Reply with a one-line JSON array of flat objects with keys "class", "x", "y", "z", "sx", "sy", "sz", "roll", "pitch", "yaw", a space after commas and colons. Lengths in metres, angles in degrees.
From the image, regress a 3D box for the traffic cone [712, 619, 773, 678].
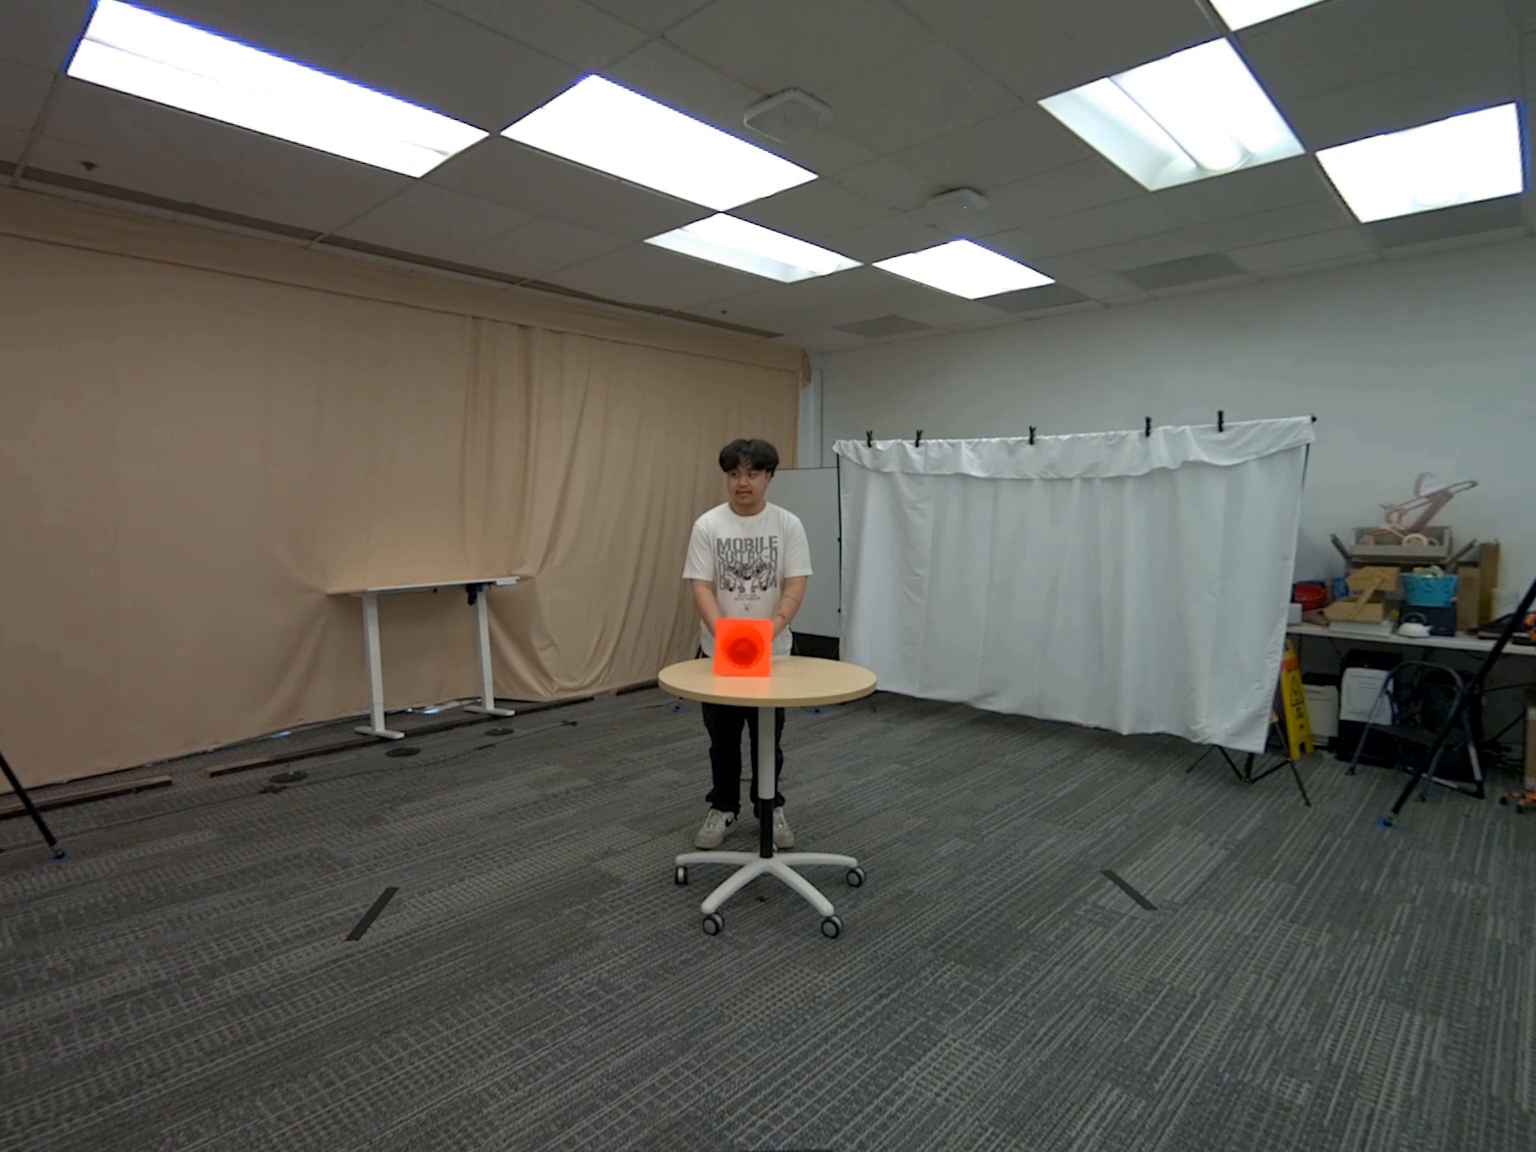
[{"class": "traffic cone", "x": -0.071, "y": 0.280, "z": 3.137, "sx": 0.205, "sy": 0.205, "sz": 0.380, "roll": -9, "pitch": -8, "yaw": 0}]
